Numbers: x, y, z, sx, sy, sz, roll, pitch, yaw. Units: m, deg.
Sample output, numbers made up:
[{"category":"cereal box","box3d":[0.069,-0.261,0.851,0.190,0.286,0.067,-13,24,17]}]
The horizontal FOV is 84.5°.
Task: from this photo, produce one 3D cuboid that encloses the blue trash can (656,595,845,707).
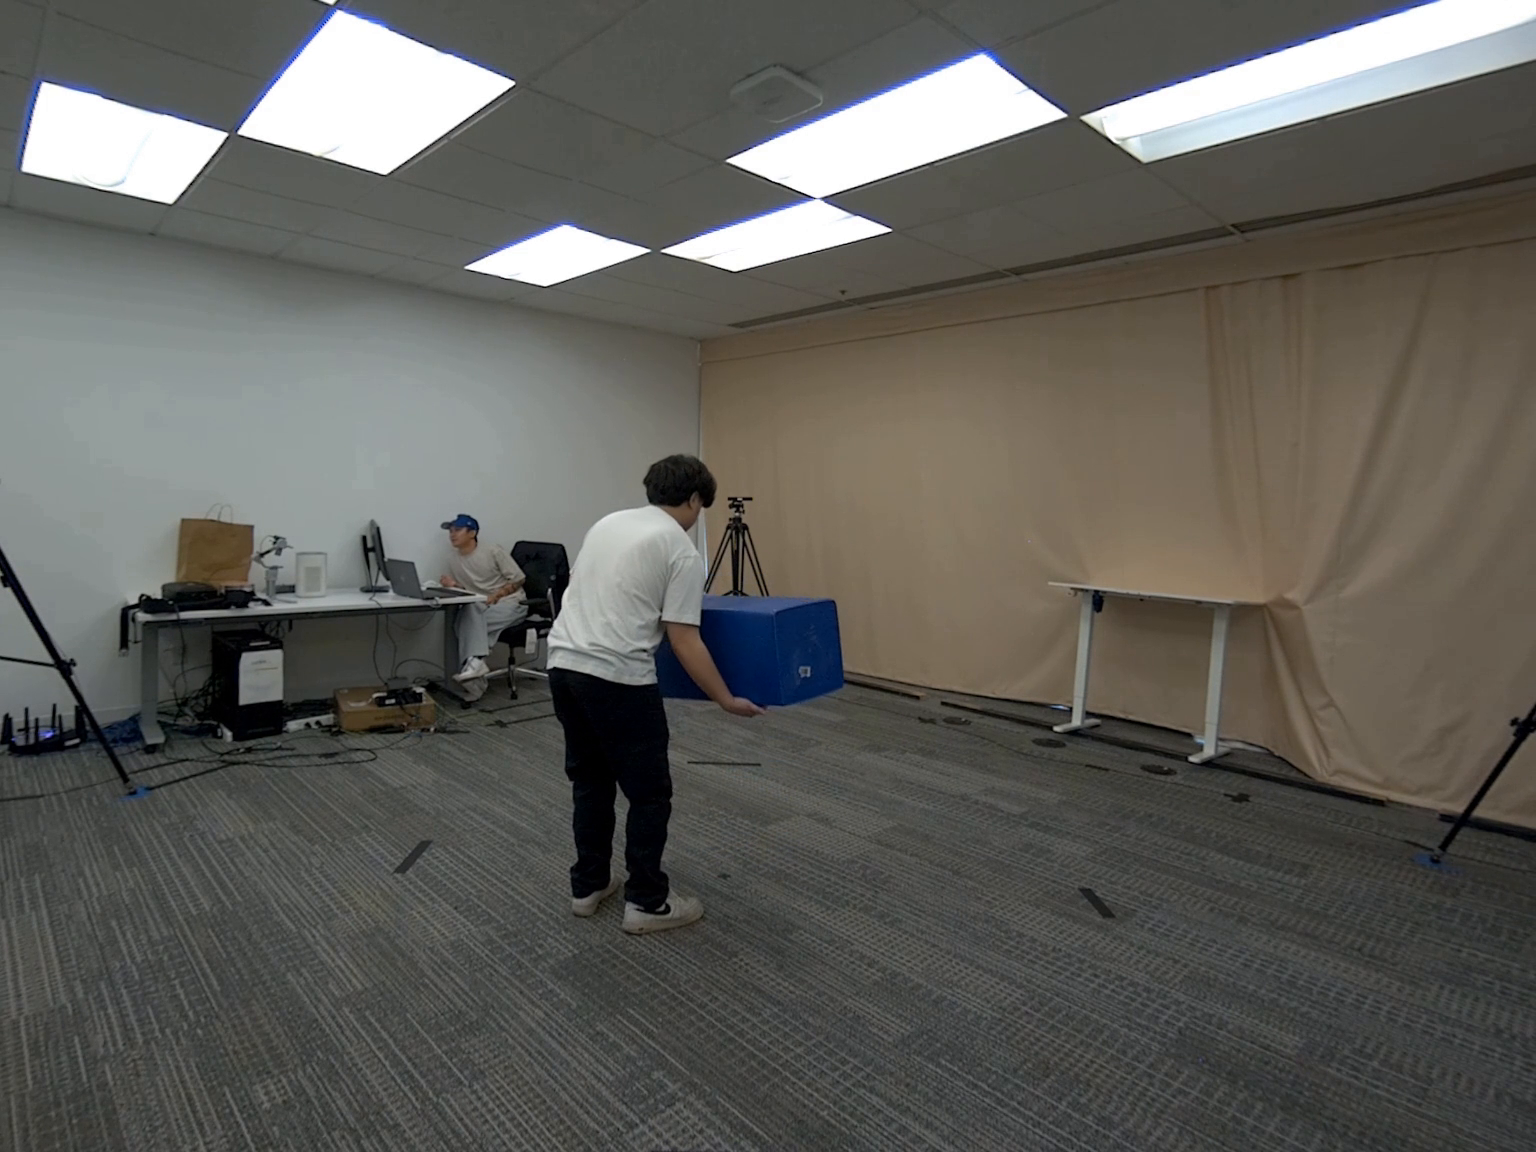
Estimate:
[{"category":"blue trash can","box3d":[-0.120,0.268,2.957,0.370,0.373,0.730,-7,4,-43]}]
